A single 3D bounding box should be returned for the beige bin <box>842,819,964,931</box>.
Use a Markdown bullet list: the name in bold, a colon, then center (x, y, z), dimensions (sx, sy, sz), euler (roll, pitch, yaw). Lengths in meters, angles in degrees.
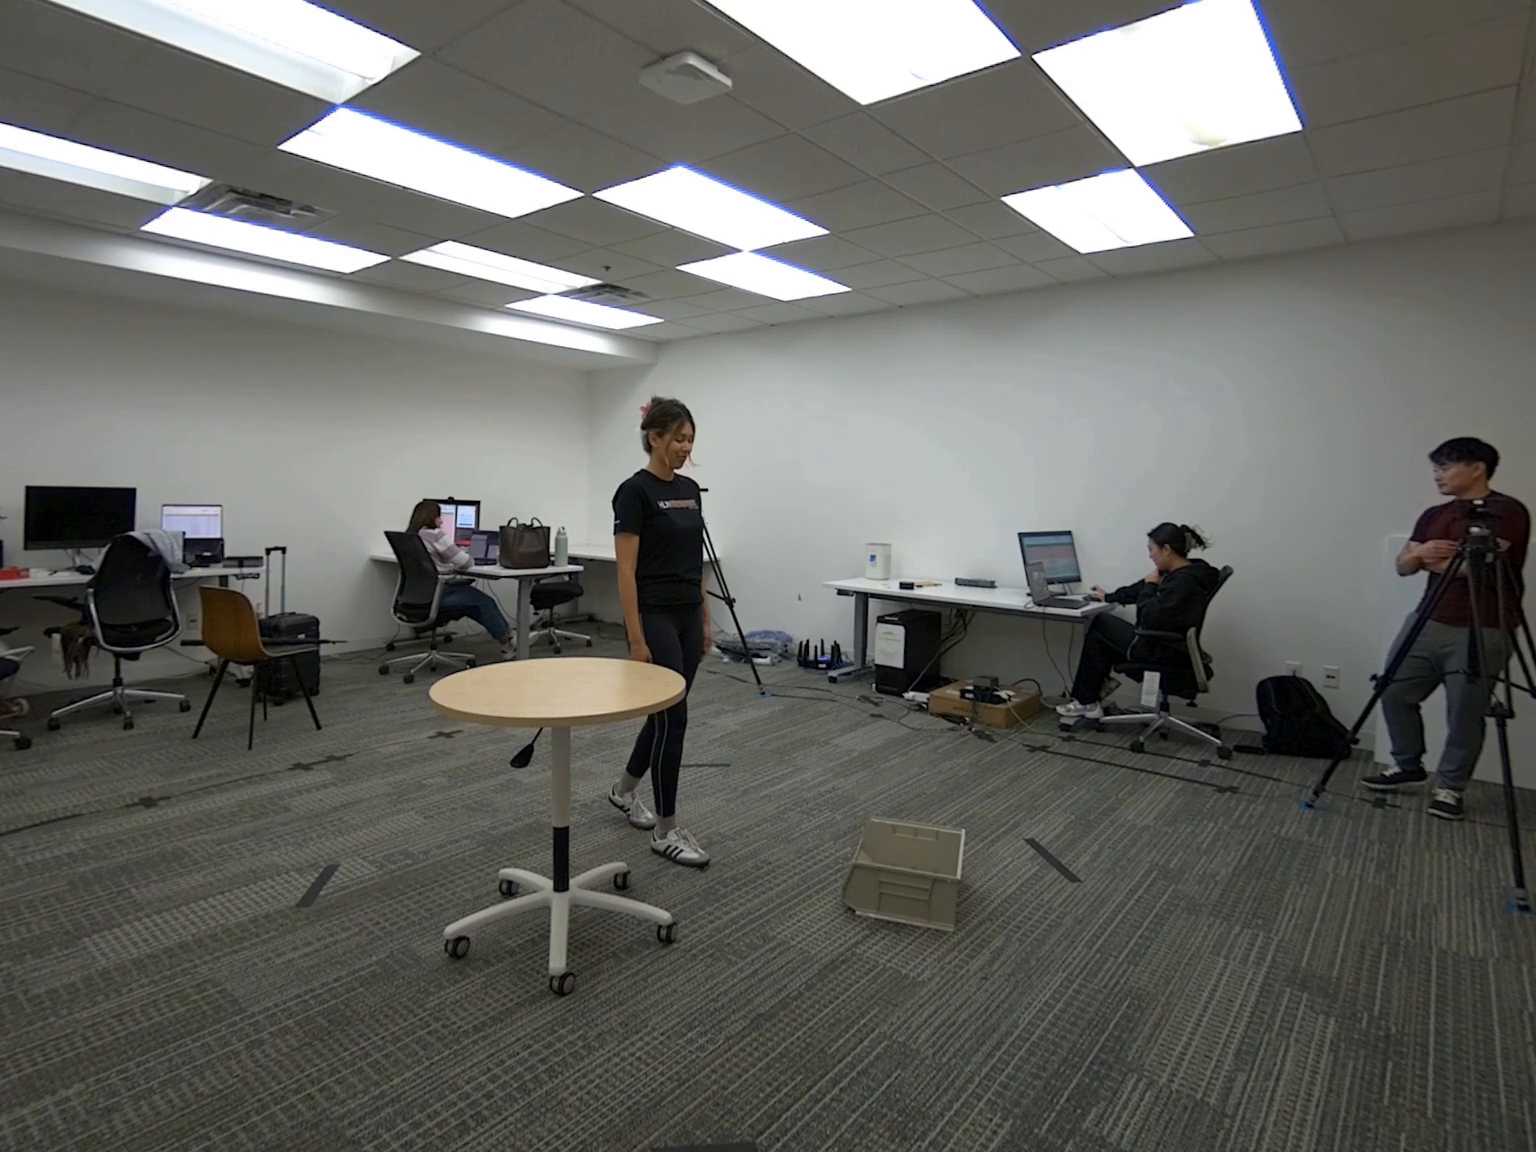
- **beige bin**: center (0.472, 1.014, 2.945), dimensions (0.384, 0.188, 0.416), euler (4, 5, 16)
